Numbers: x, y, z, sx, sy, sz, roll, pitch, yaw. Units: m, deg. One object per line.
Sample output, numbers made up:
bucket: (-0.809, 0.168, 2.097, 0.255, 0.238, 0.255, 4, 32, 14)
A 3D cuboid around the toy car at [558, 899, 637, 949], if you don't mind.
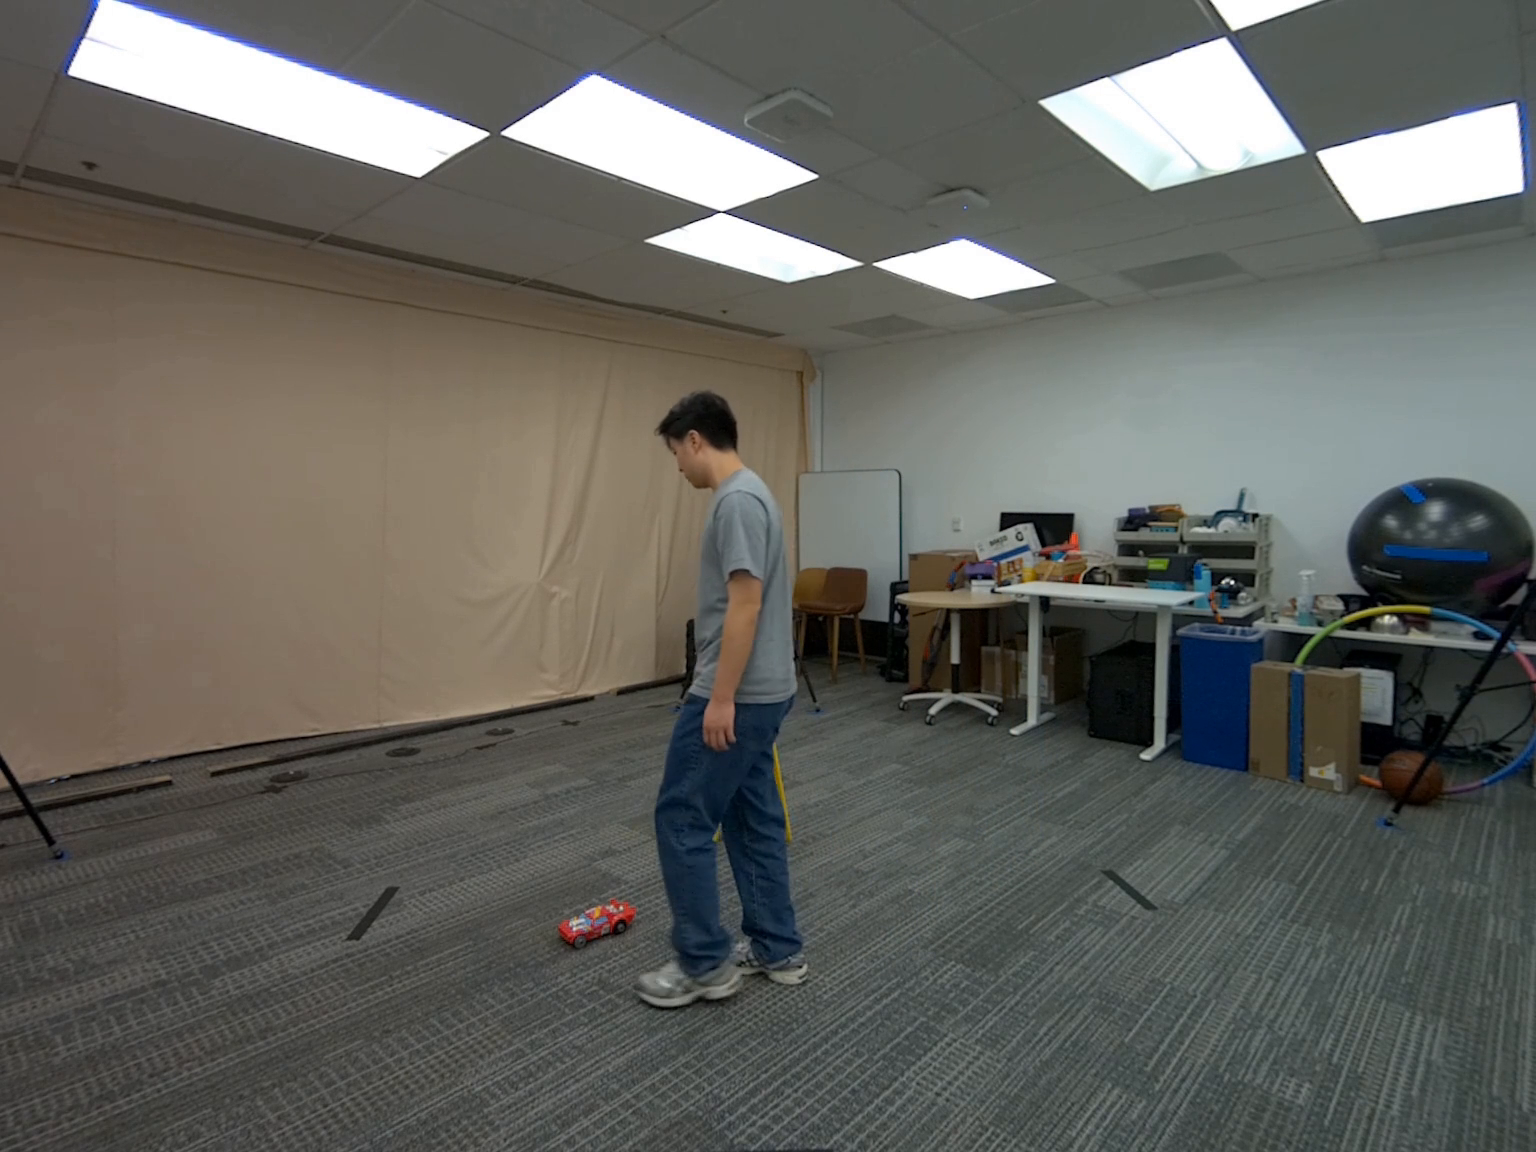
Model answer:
toy car: (-0.553, 1.135, 2.748, 0.248, 0.082, 0.134, -18, 13, -35)
